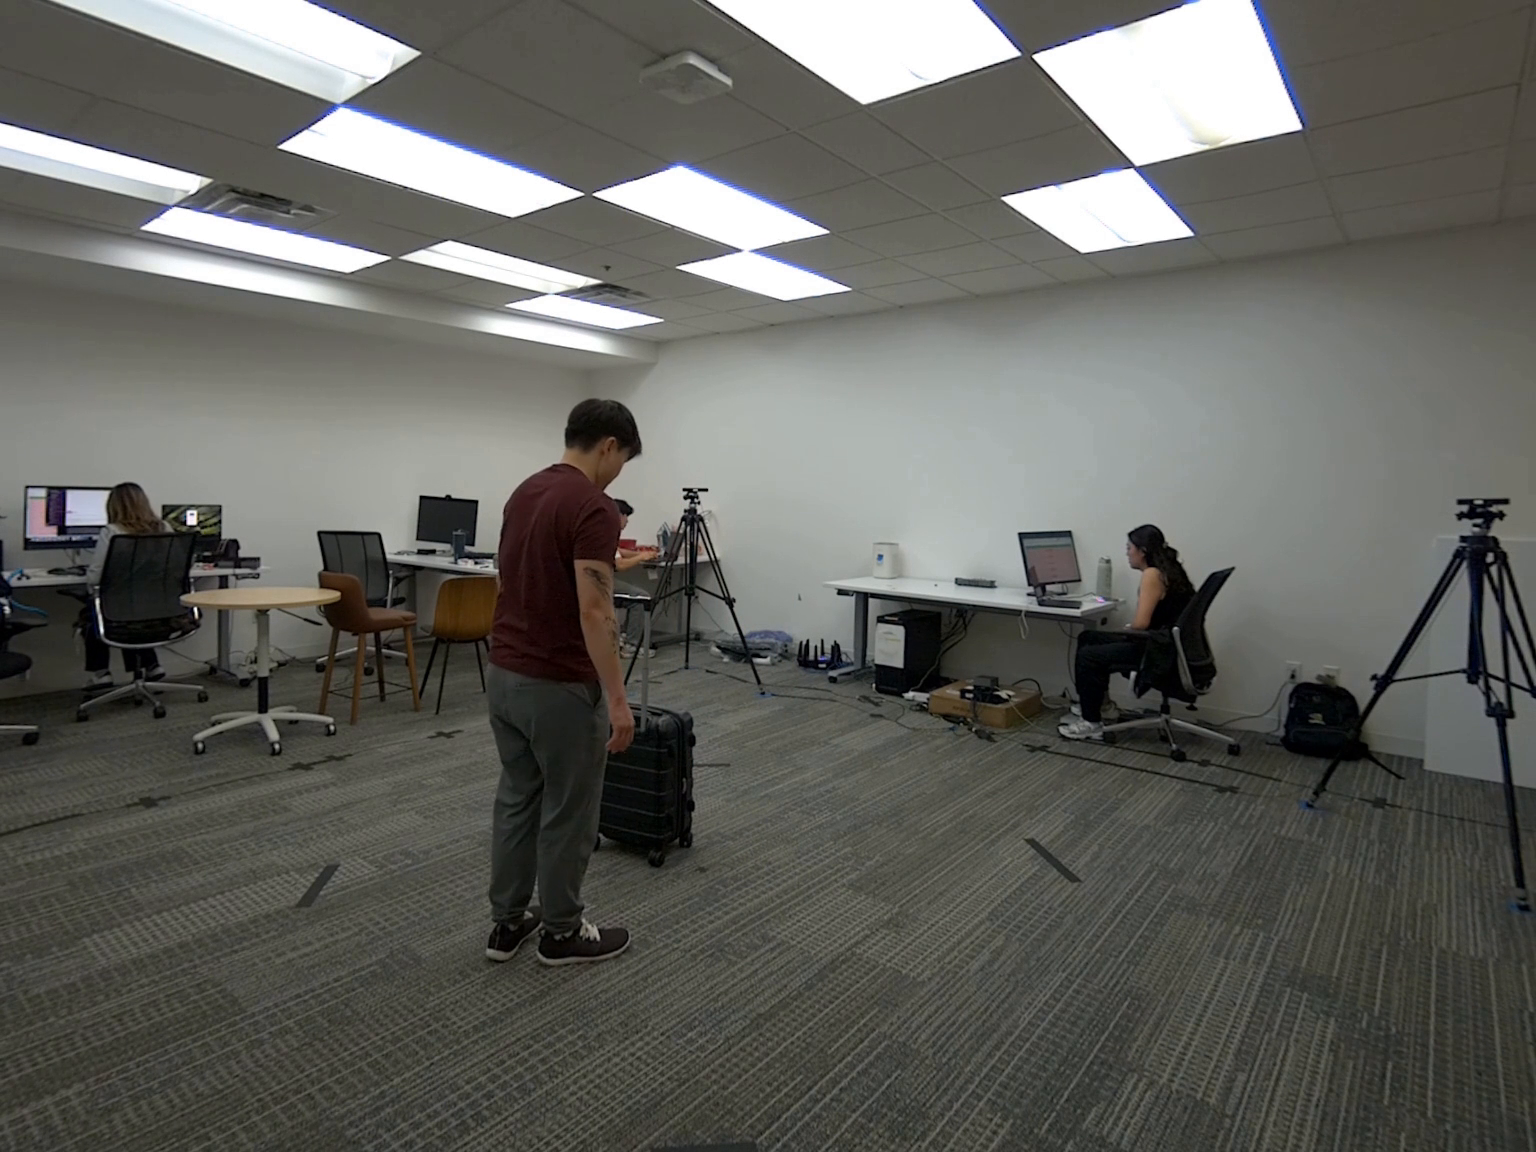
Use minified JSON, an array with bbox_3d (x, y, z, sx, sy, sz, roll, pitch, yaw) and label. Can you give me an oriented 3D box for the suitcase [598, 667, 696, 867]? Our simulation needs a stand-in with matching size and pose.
[{"bbox_3d":[-0.487,0.570,3.299,0.394,0.979,0.250,2,0,26],"label":"suitcase"}]
